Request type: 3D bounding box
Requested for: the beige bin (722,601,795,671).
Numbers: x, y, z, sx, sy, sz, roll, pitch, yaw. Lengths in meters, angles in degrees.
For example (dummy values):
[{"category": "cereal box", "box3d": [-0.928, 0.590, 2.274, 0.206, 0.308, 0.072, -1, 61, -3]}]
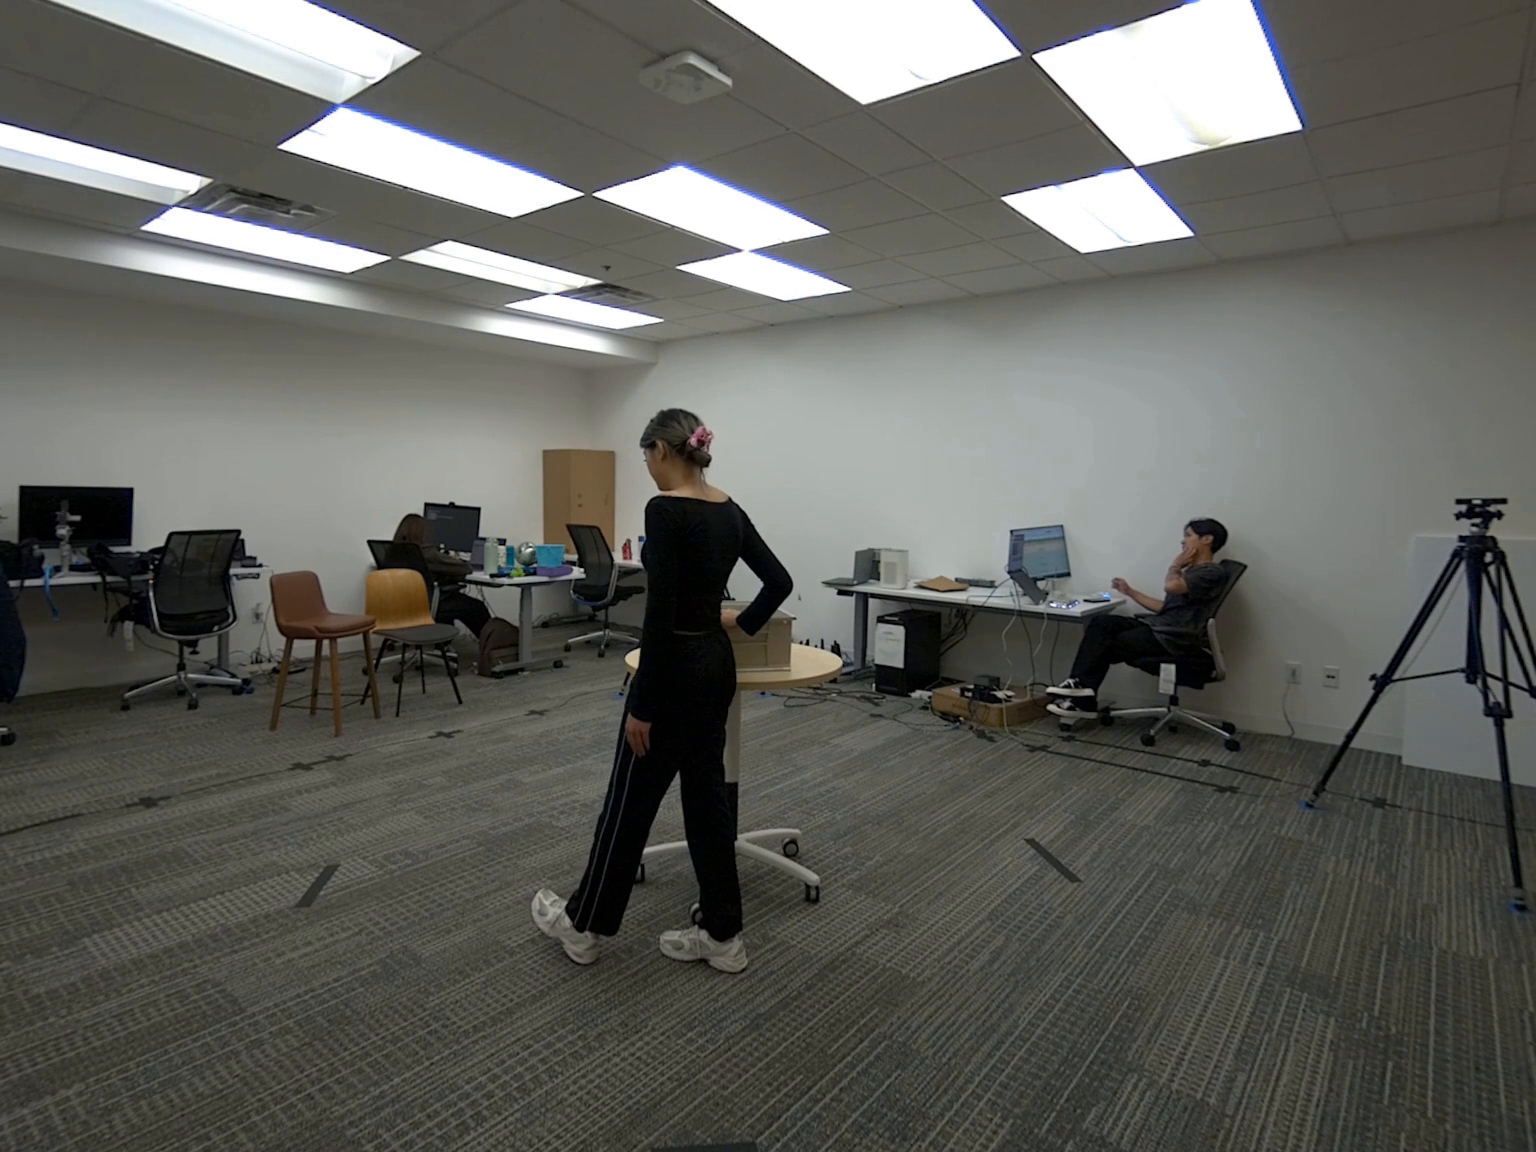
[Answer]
[{"category": "beige bin", "box3d": [-0.157, 0.202, 2.963, 0.372, 0.188, 0.429, 1, 4, -13]}]
